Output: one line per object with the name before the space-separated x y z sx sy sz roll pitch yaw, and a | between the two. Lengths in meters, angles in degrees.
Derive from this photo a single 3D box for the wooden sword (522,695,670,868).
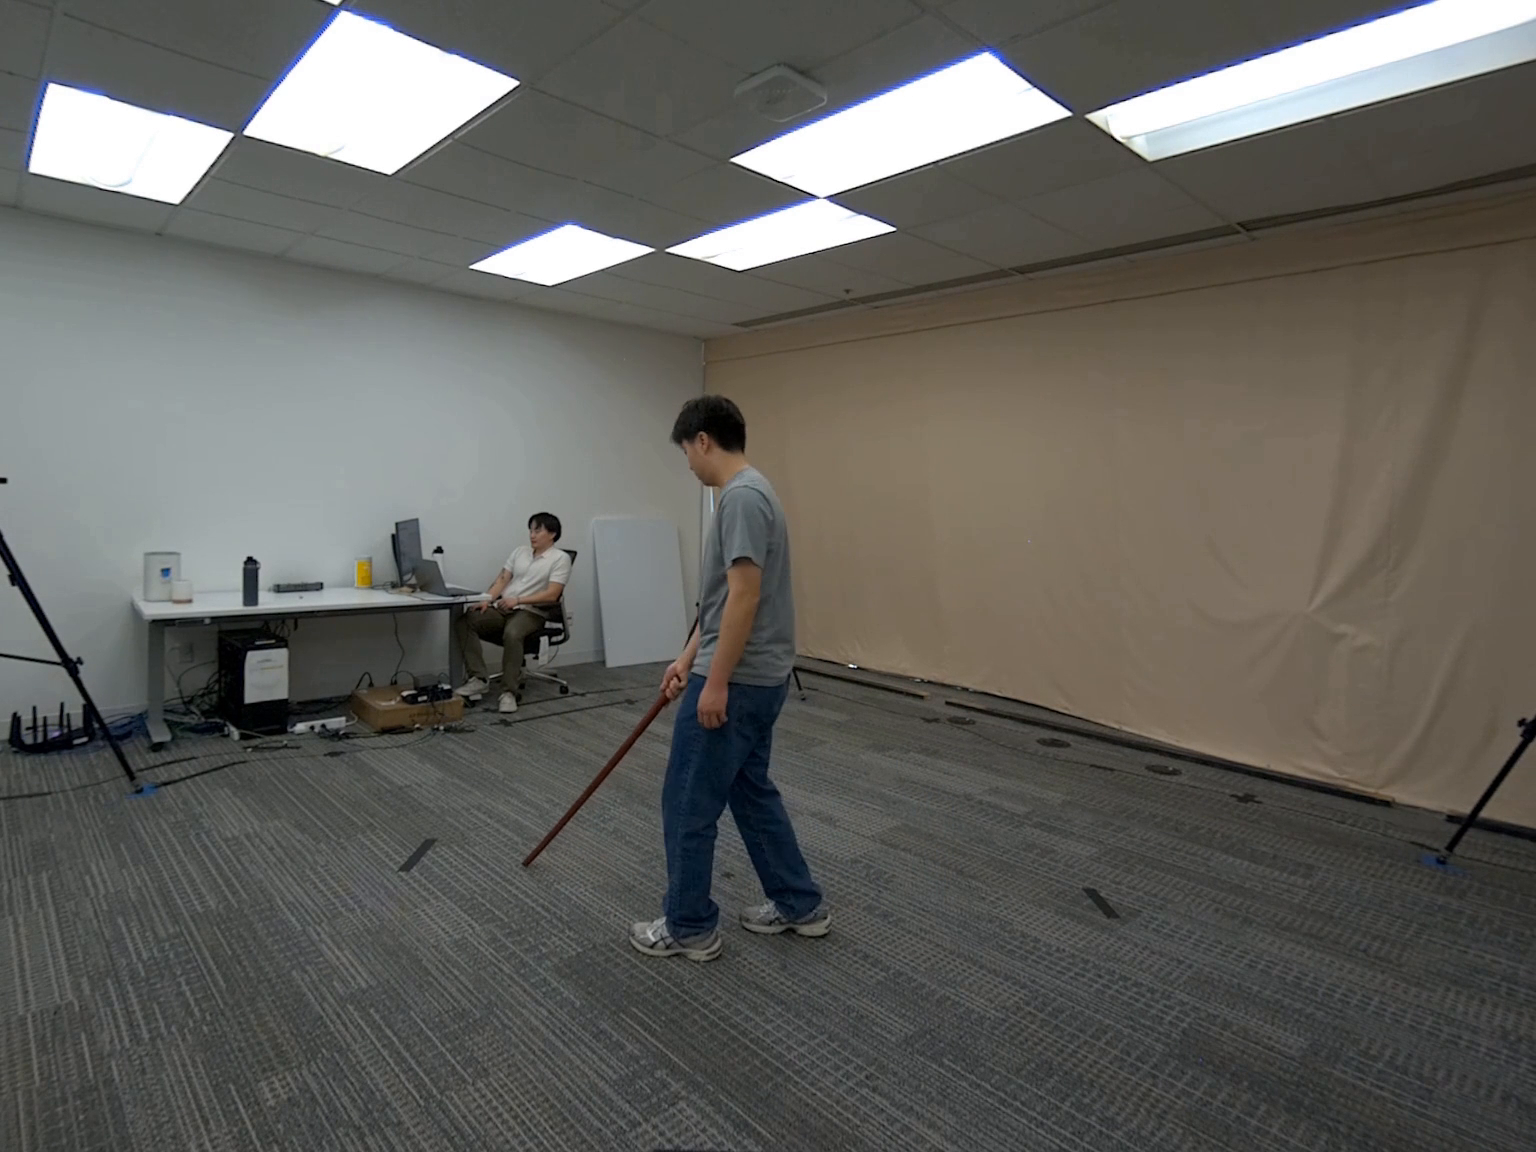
wooden sword | -0.614 0.726 2.962 0.050 1.023 0.024 34 22 -13
